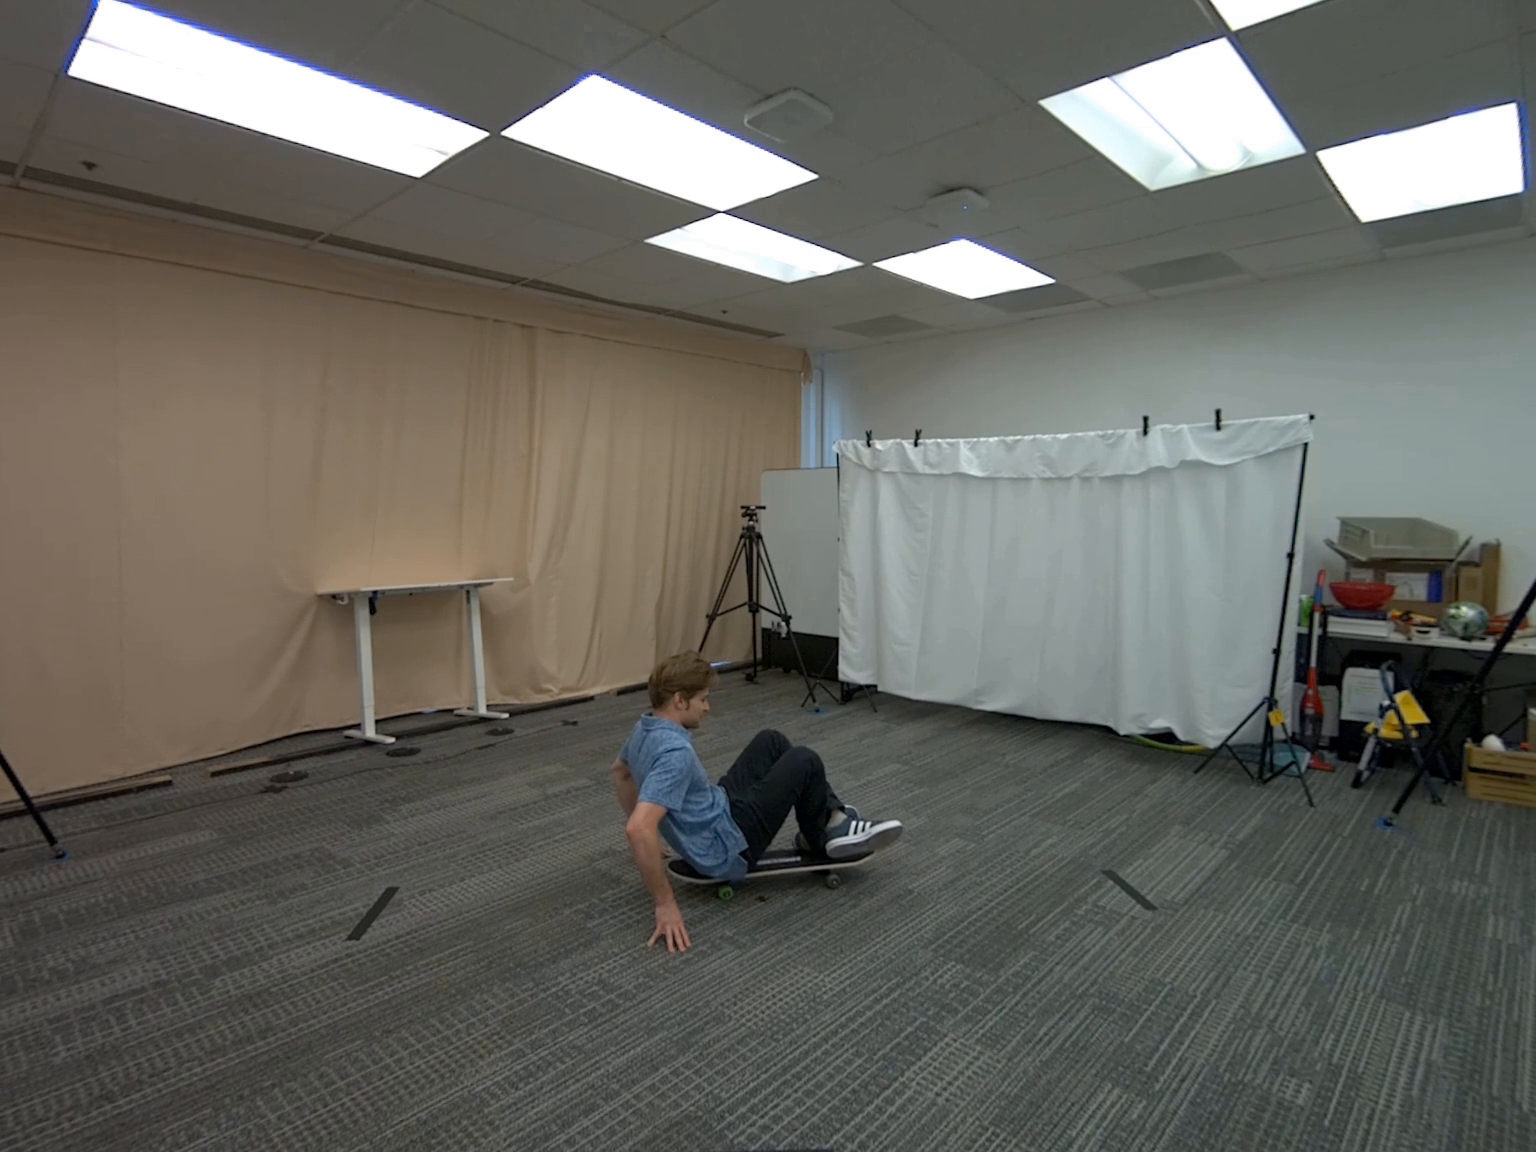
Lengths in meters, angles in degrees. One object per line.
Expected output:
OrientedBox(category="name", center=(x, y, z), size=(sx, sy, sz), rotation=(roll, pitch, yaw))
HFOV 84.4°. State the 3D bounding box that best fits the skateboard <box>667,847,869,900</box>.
OrientedBox(category="skateboard", center=(0.028, 1.086, 3.098), size=(0.778, 0.110, 0.195), rotation=(-2, 2, -9))
